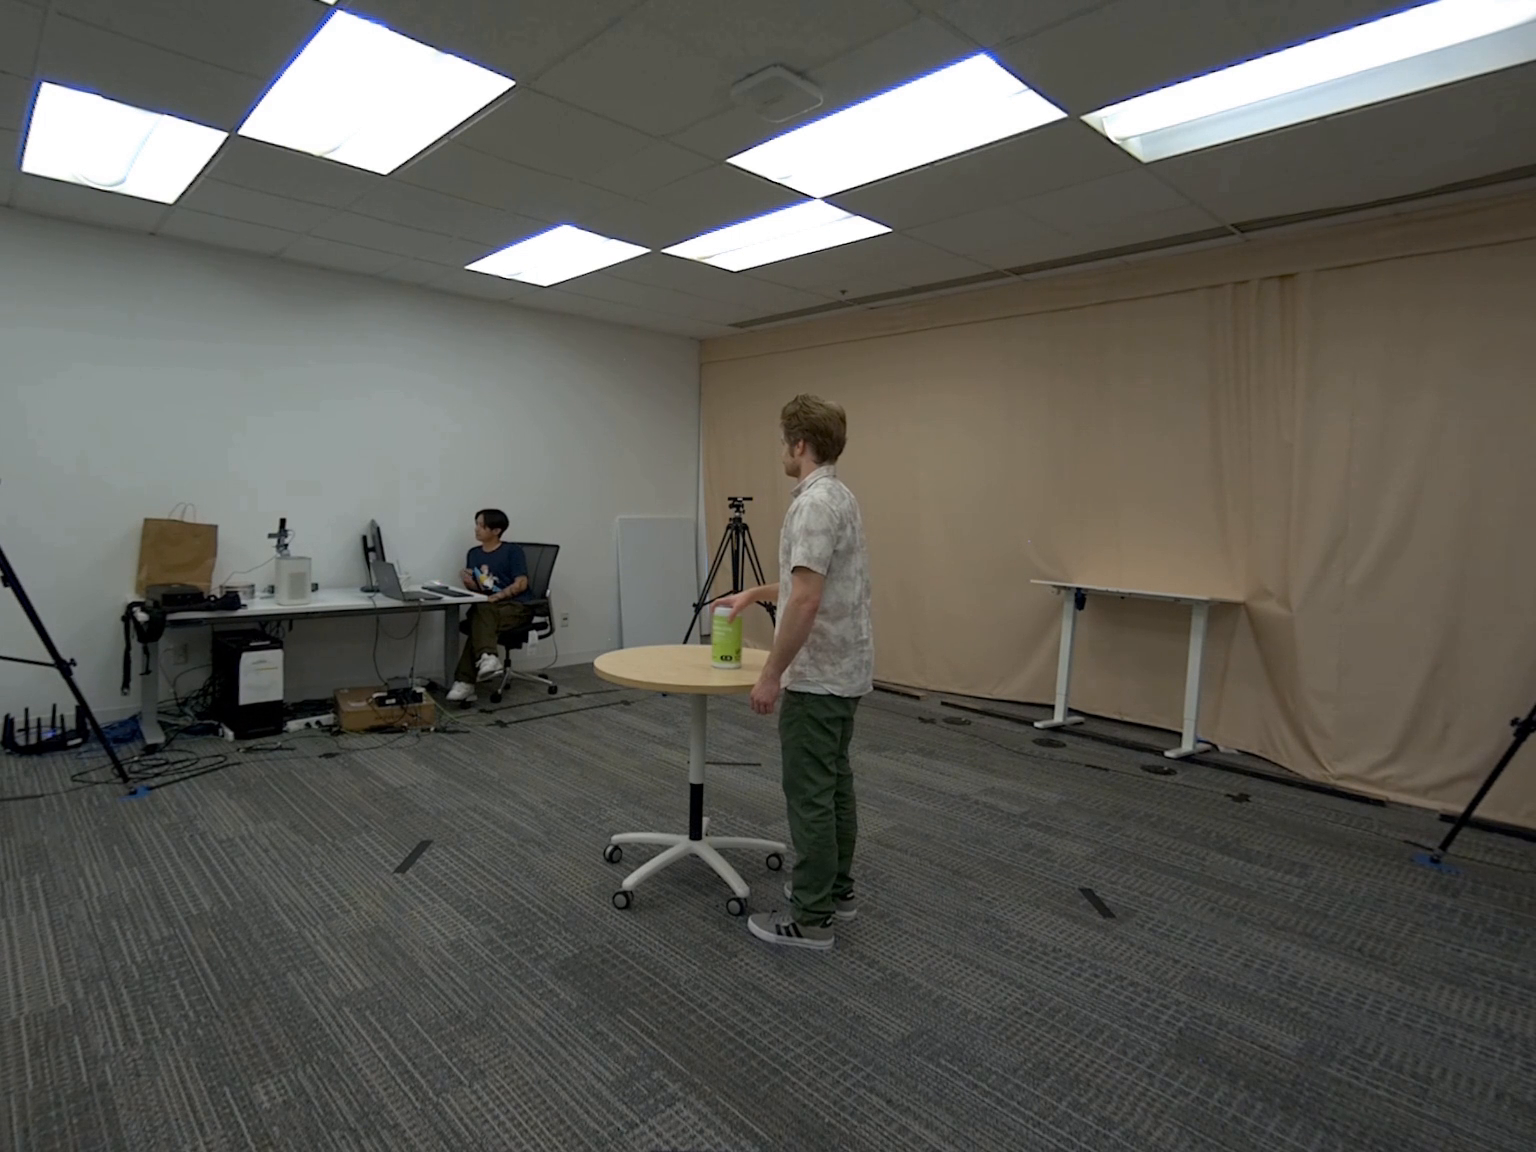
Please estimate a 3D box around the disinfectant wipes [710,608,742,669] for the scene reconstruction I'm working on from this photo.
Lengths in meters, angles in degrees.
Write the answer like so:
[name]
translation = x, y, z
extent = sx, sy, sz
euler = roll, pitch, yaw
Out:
[disinfectant wipes]
translation = -0.152, 0.220, 3.008
extent = 0.118, 0.217, 0.118
euler = 1, 5, -1
